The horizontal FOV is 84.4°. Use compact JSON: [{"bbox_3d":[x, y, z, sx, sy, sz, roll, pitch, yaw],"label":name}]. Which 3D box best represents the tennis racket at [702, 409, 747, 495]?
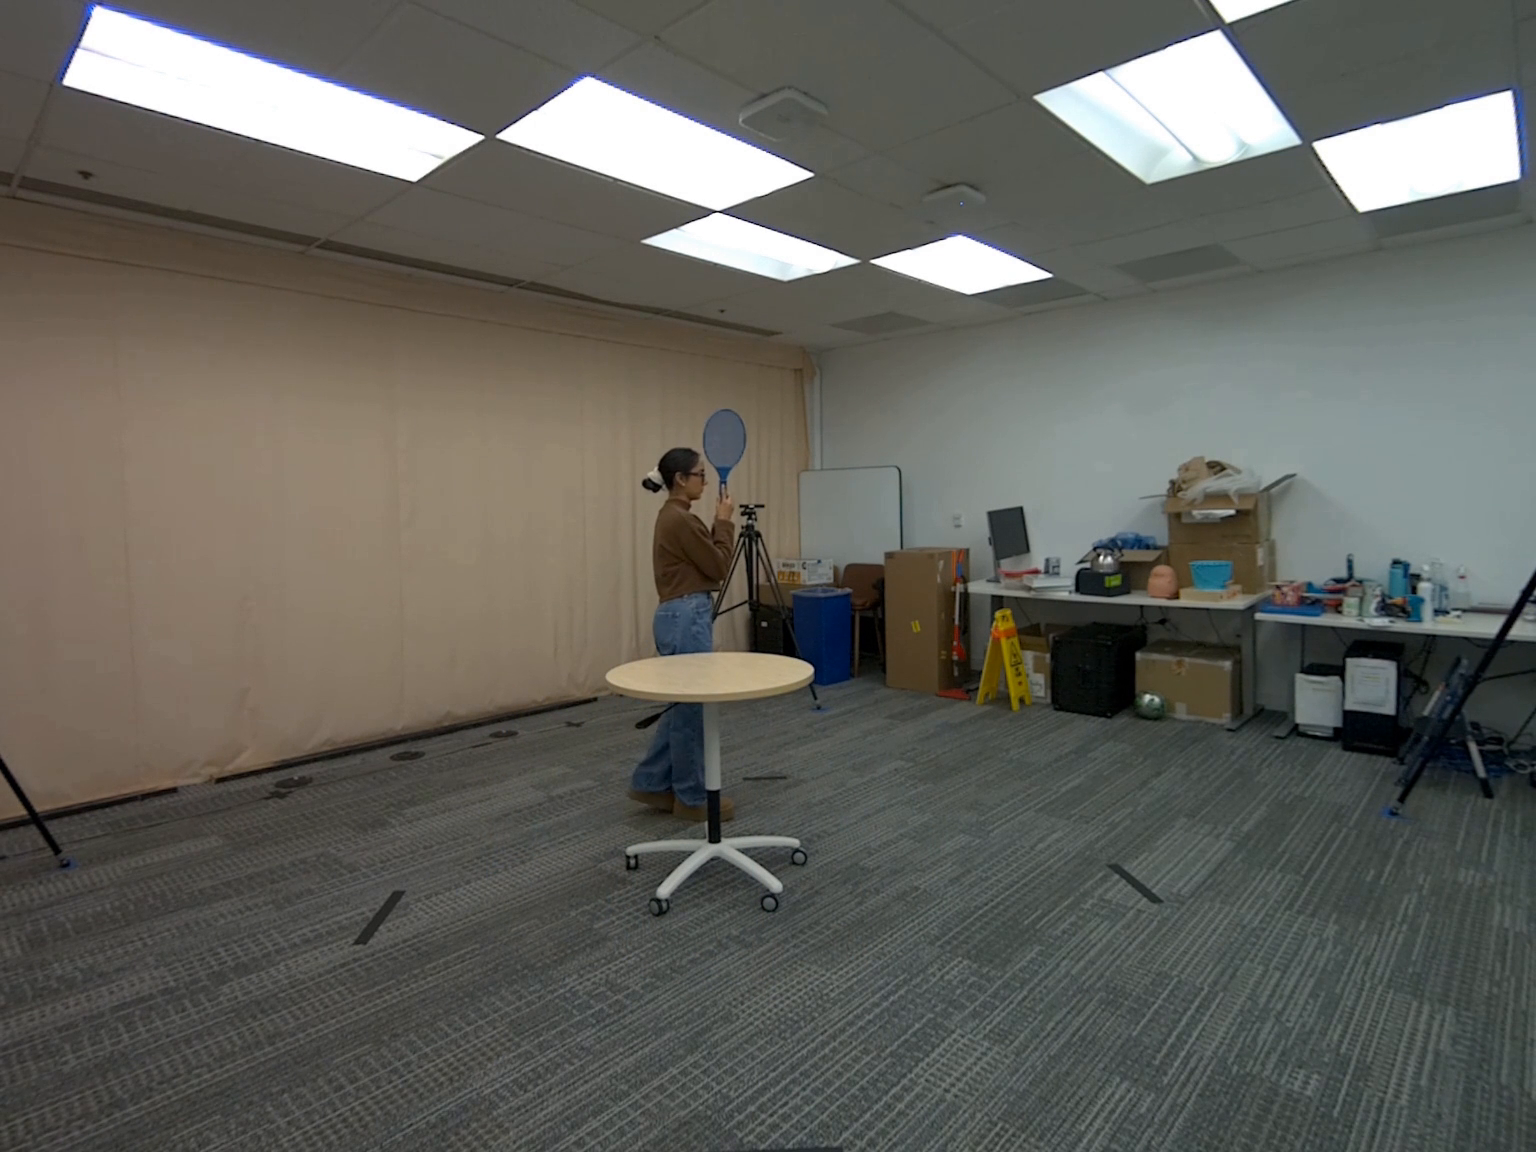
[{"bbox_3d":[-0.190,-0.523,3.726,0.208,0.431,0.033,0,9,-27],"label":"tennis racket"}]
